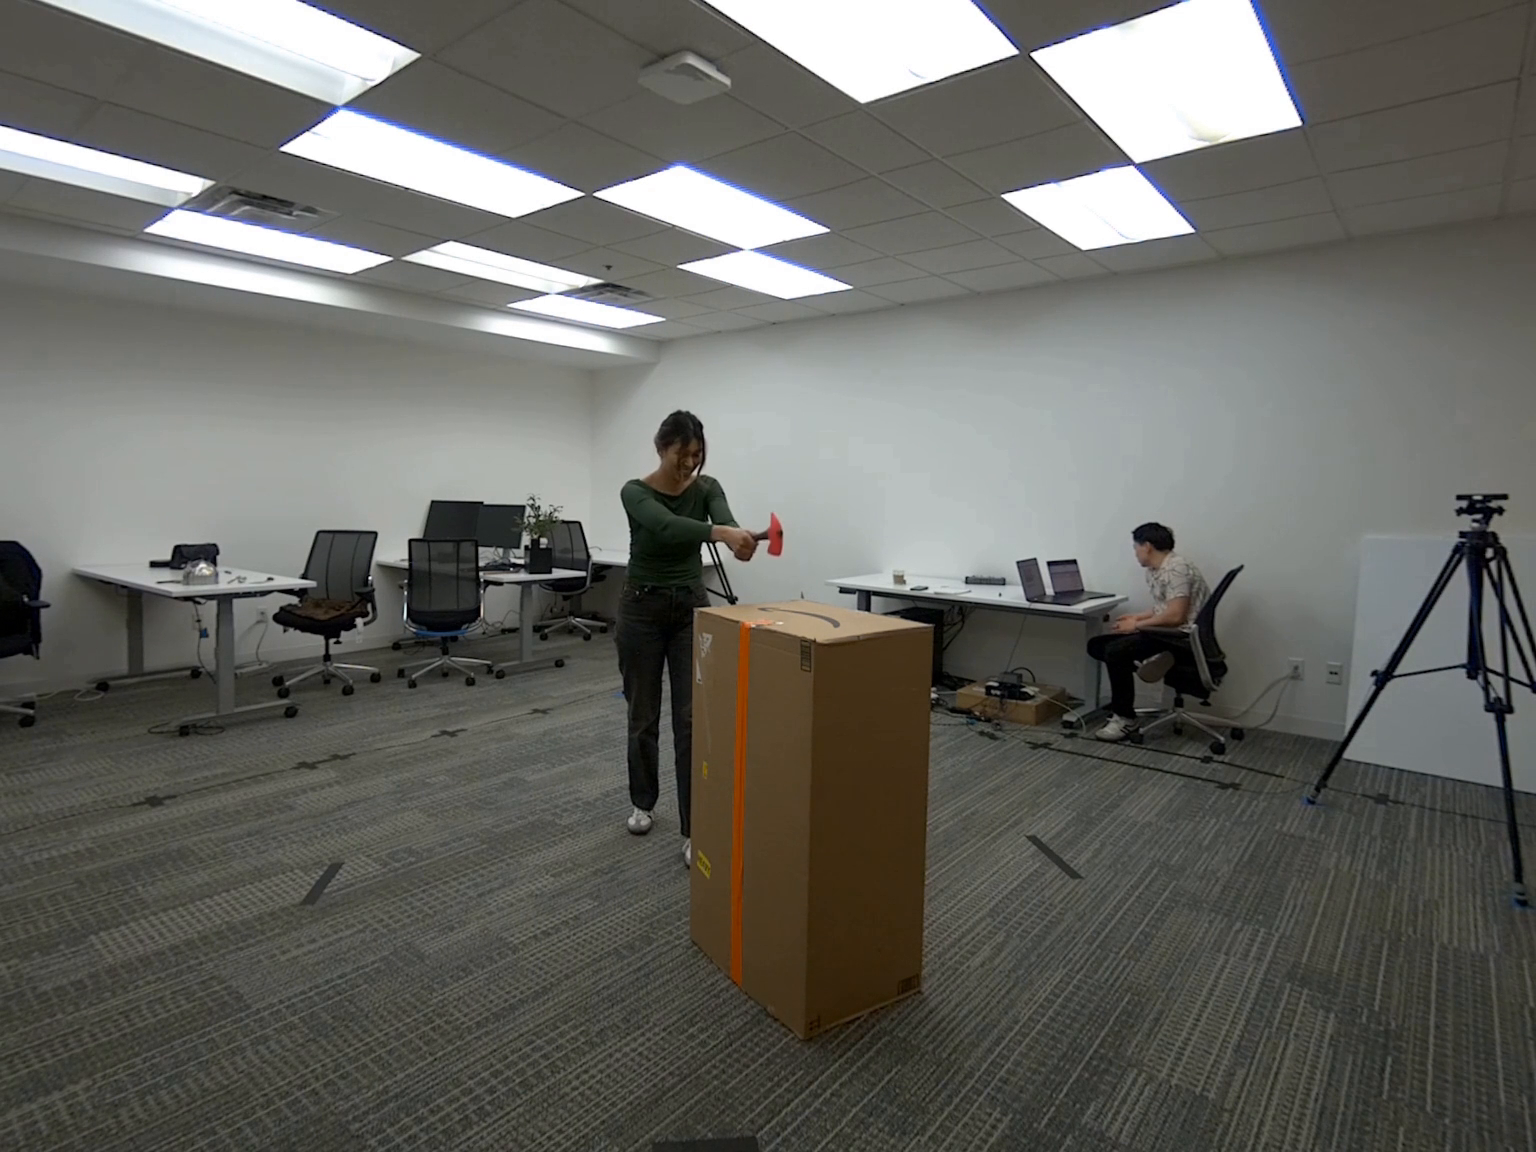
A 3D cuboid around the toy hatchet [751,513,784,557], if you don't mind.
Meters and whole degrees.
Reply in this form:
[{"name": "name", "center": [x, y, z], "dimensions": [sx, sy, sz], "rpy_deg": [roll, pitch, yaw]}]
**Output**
[{"name": "toy hatchet", "center": [-0.038, -0.093, 2.688], "dimensions": [0.029, 0.134, 0.271], "rpy_deg": [-8, -21, -35]}]
